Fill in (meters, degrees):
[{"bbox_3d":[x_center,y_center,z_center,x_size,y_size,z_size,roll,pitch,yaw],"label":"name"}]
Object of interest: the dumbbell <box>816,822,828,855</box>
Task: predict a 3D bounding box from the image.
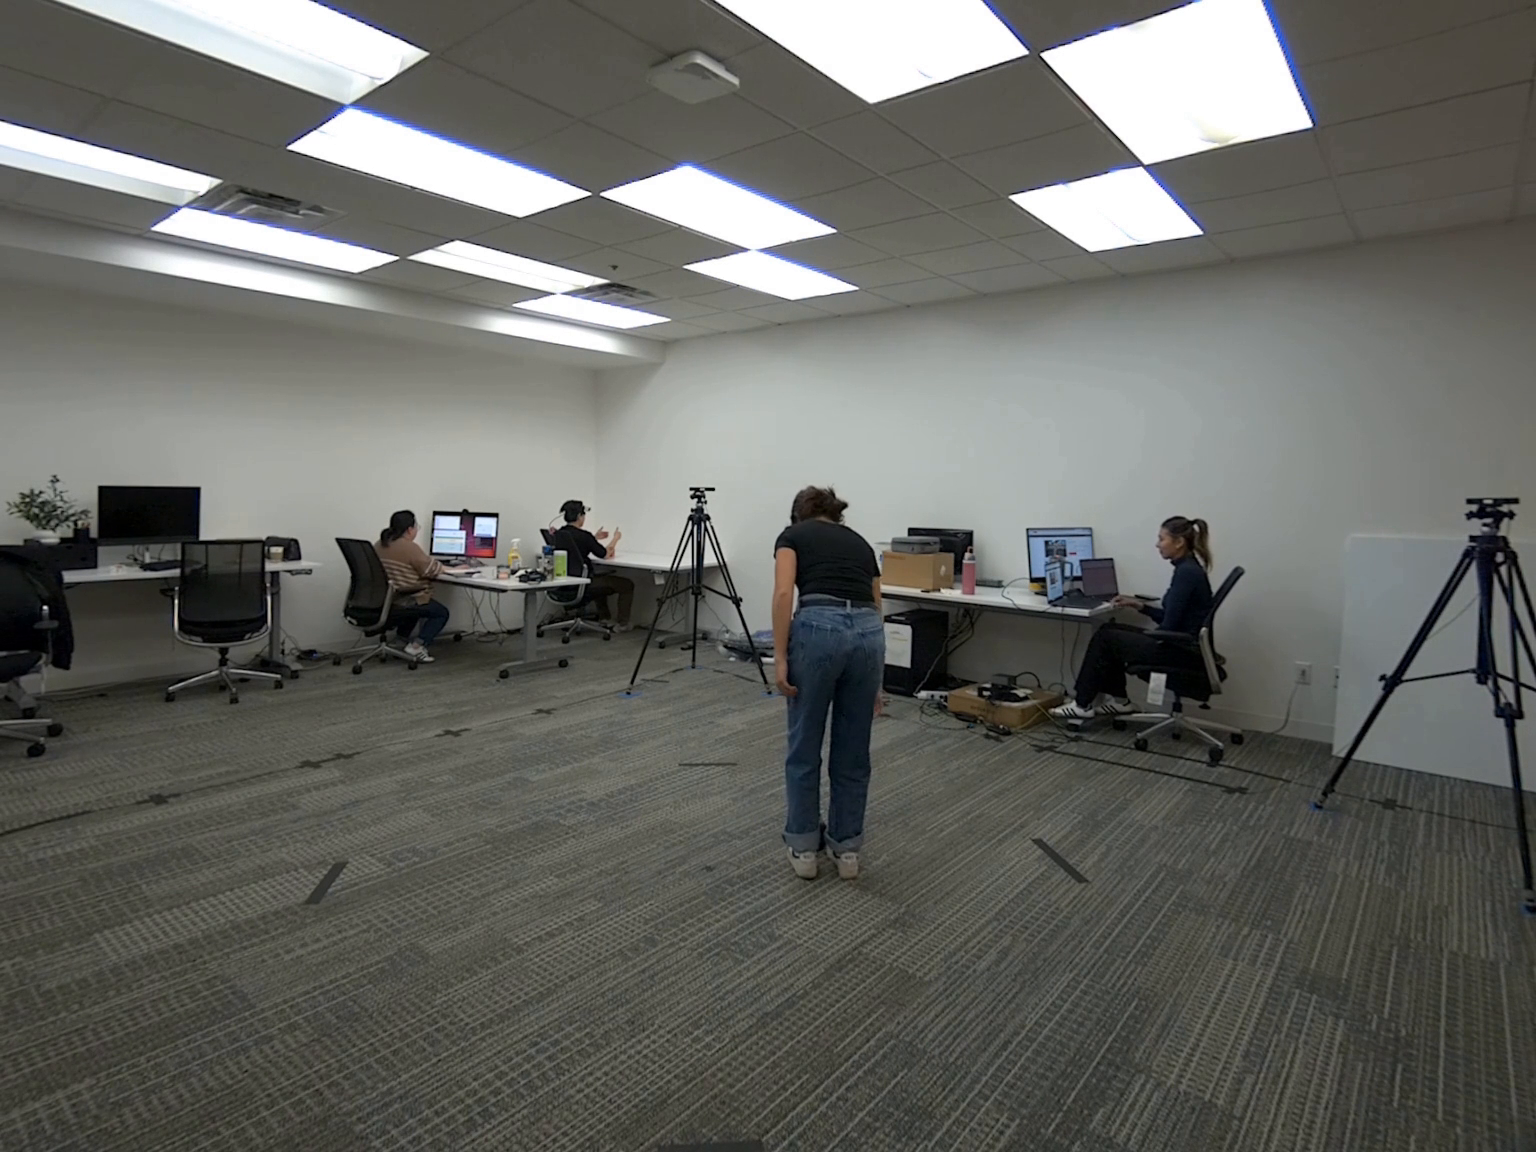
[{"bbox_3d":[0.164,0.982,3.423,0.108,0.122,0.297,-29,9,-5],"label":"dumbbell"}]
